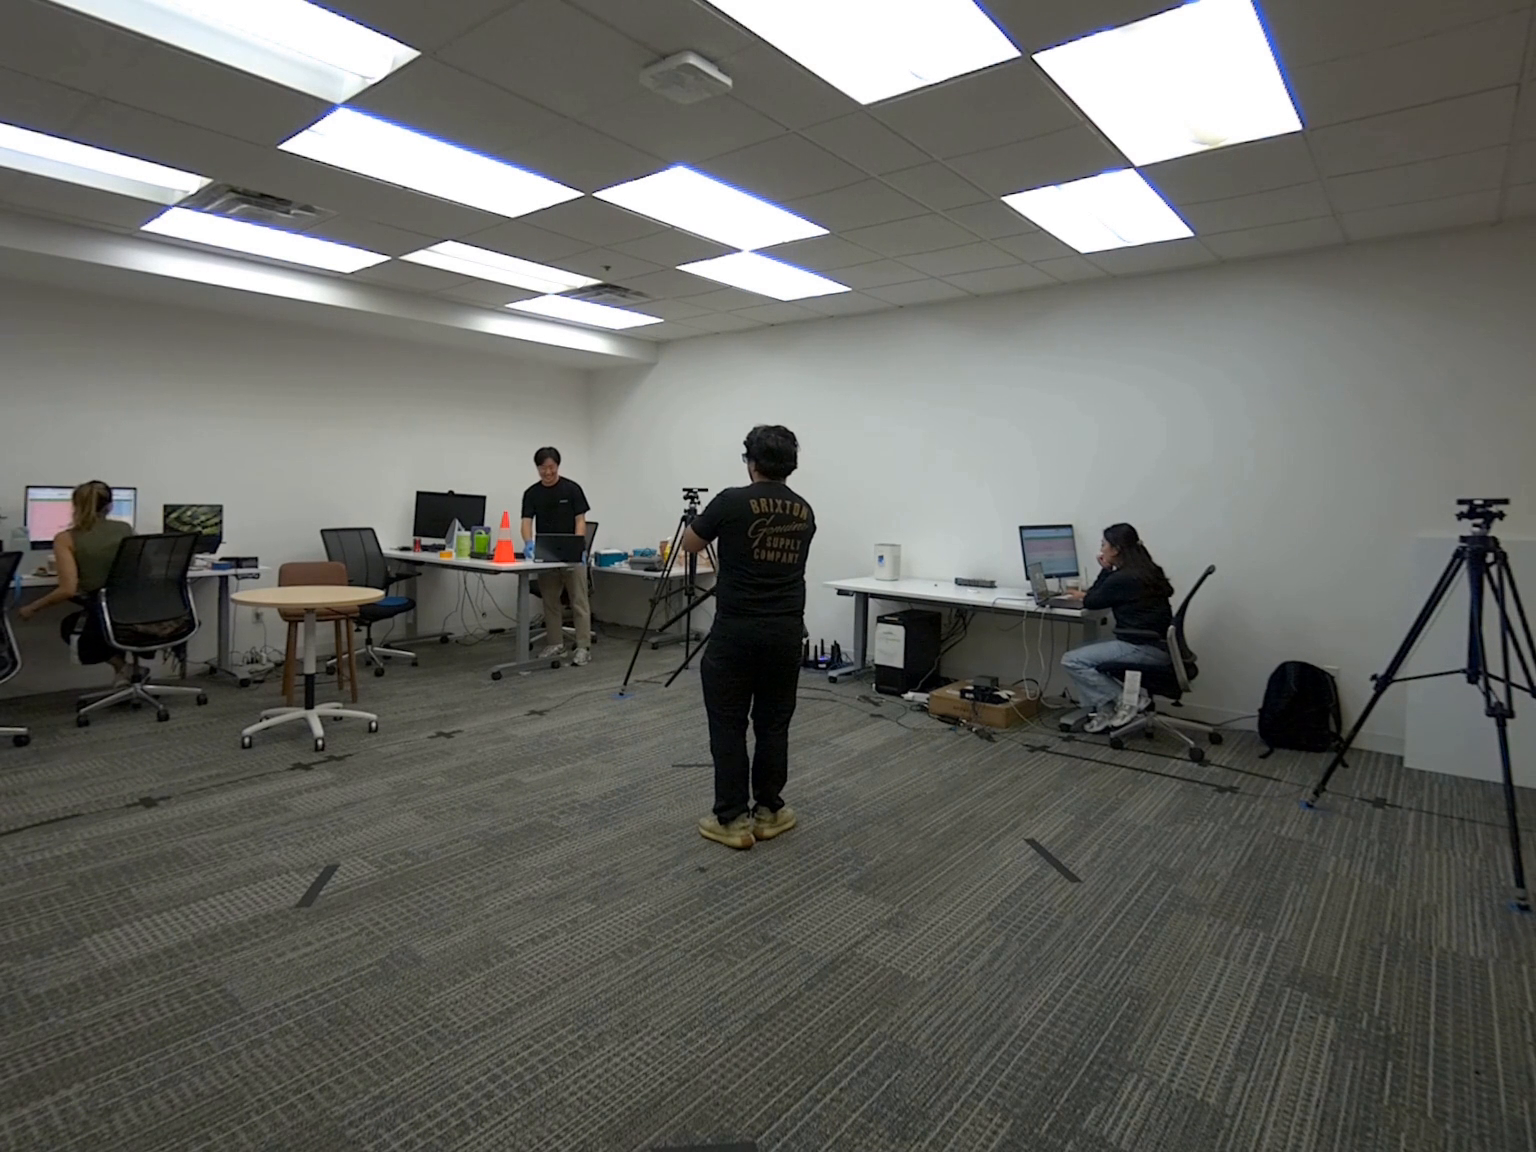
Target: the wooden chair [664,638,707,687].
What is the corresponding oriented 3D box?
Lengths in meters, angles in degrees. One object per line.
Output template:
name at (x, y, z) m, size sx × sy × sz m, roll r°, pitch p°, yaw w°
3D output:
wooden chair at (-0.083, 0.113, 3.806) m, size 0.511 × 0.871 × 0.493 m, roll 21°, pitch 21°, yaw -20°
